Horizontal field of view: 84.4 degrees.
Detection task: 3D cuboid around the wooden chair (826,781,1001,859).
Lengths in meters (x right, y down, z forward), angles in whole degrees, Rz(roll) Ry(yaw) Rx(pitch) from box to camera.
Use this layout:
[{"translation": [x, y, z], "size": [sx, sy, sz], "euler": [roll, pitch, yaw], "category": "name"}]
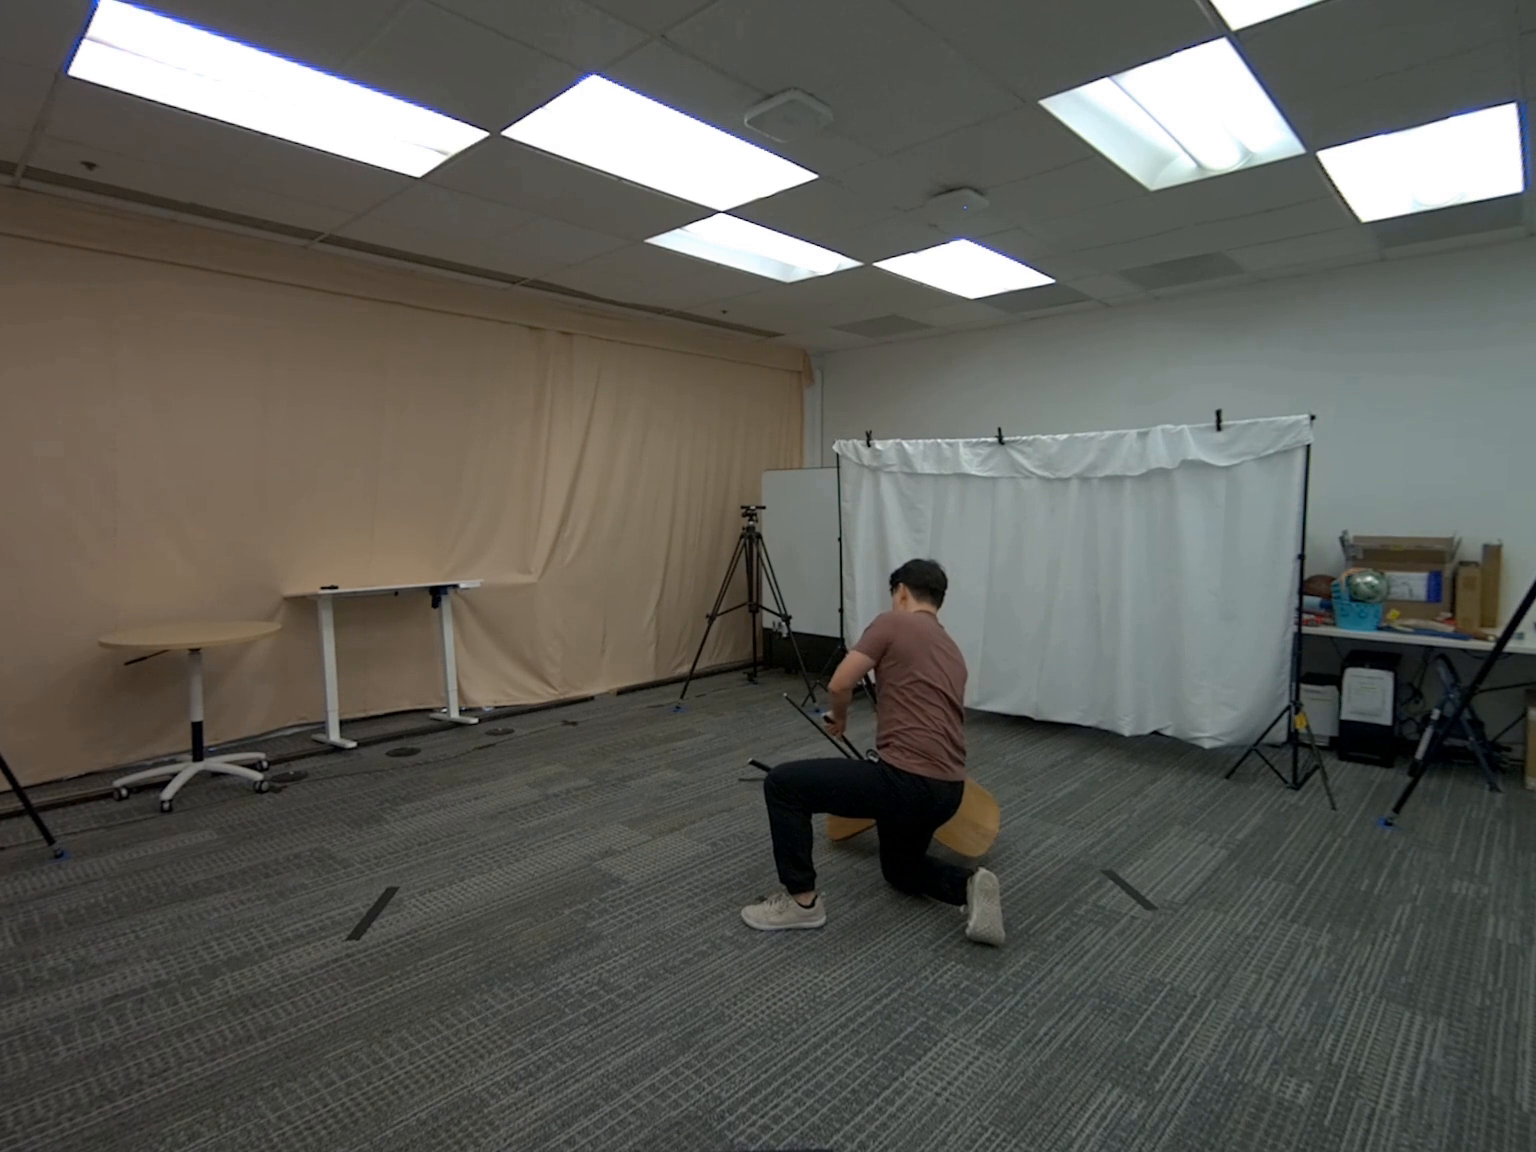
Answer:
[{"translation": [0.437, 0.824, 3.440], "size": [0.527, 0.875, 0.476], "euler": [-46, 4, 37], "category": "wooden chair"}]
